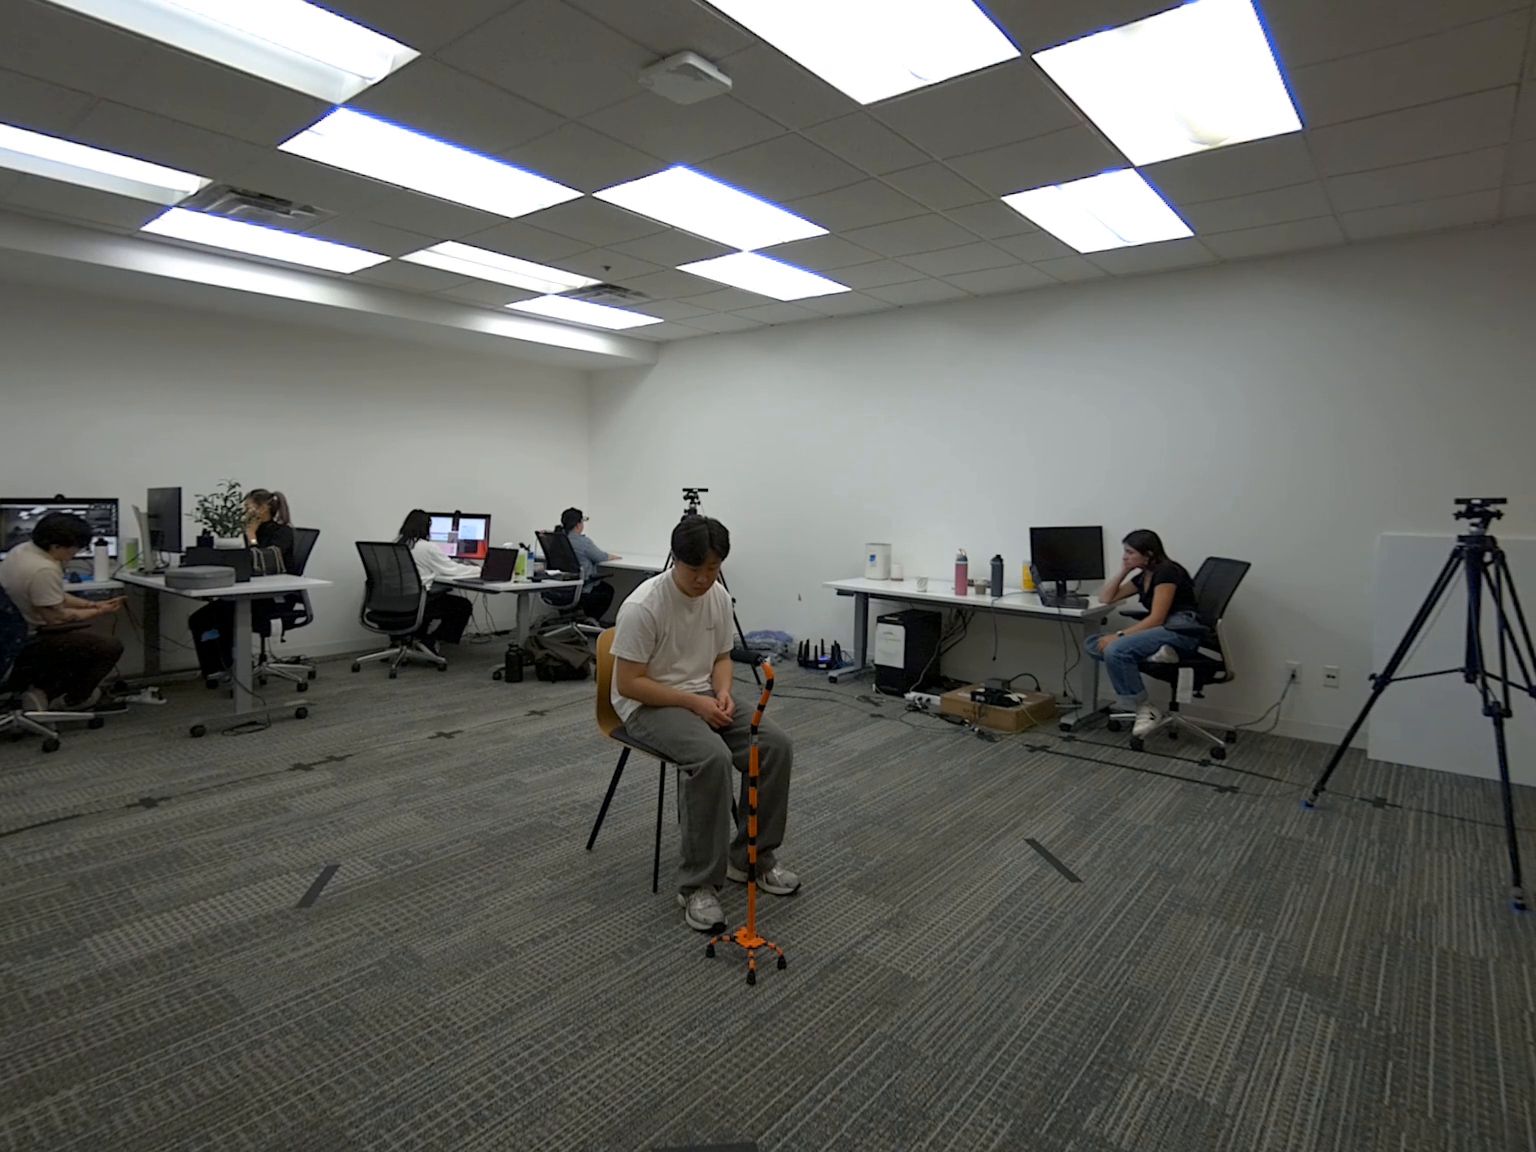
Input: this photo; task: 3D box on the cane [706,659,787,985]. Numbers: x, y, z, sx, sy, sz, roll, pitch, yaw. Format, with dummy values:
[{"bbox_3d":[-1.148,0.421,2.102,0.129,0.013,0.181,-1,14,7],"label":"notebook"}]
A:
[{"bbox_3d":[-0.055,0.675,2.478,0.147,0.905,0.213,-2,5,-44],"label":"cane"}]
